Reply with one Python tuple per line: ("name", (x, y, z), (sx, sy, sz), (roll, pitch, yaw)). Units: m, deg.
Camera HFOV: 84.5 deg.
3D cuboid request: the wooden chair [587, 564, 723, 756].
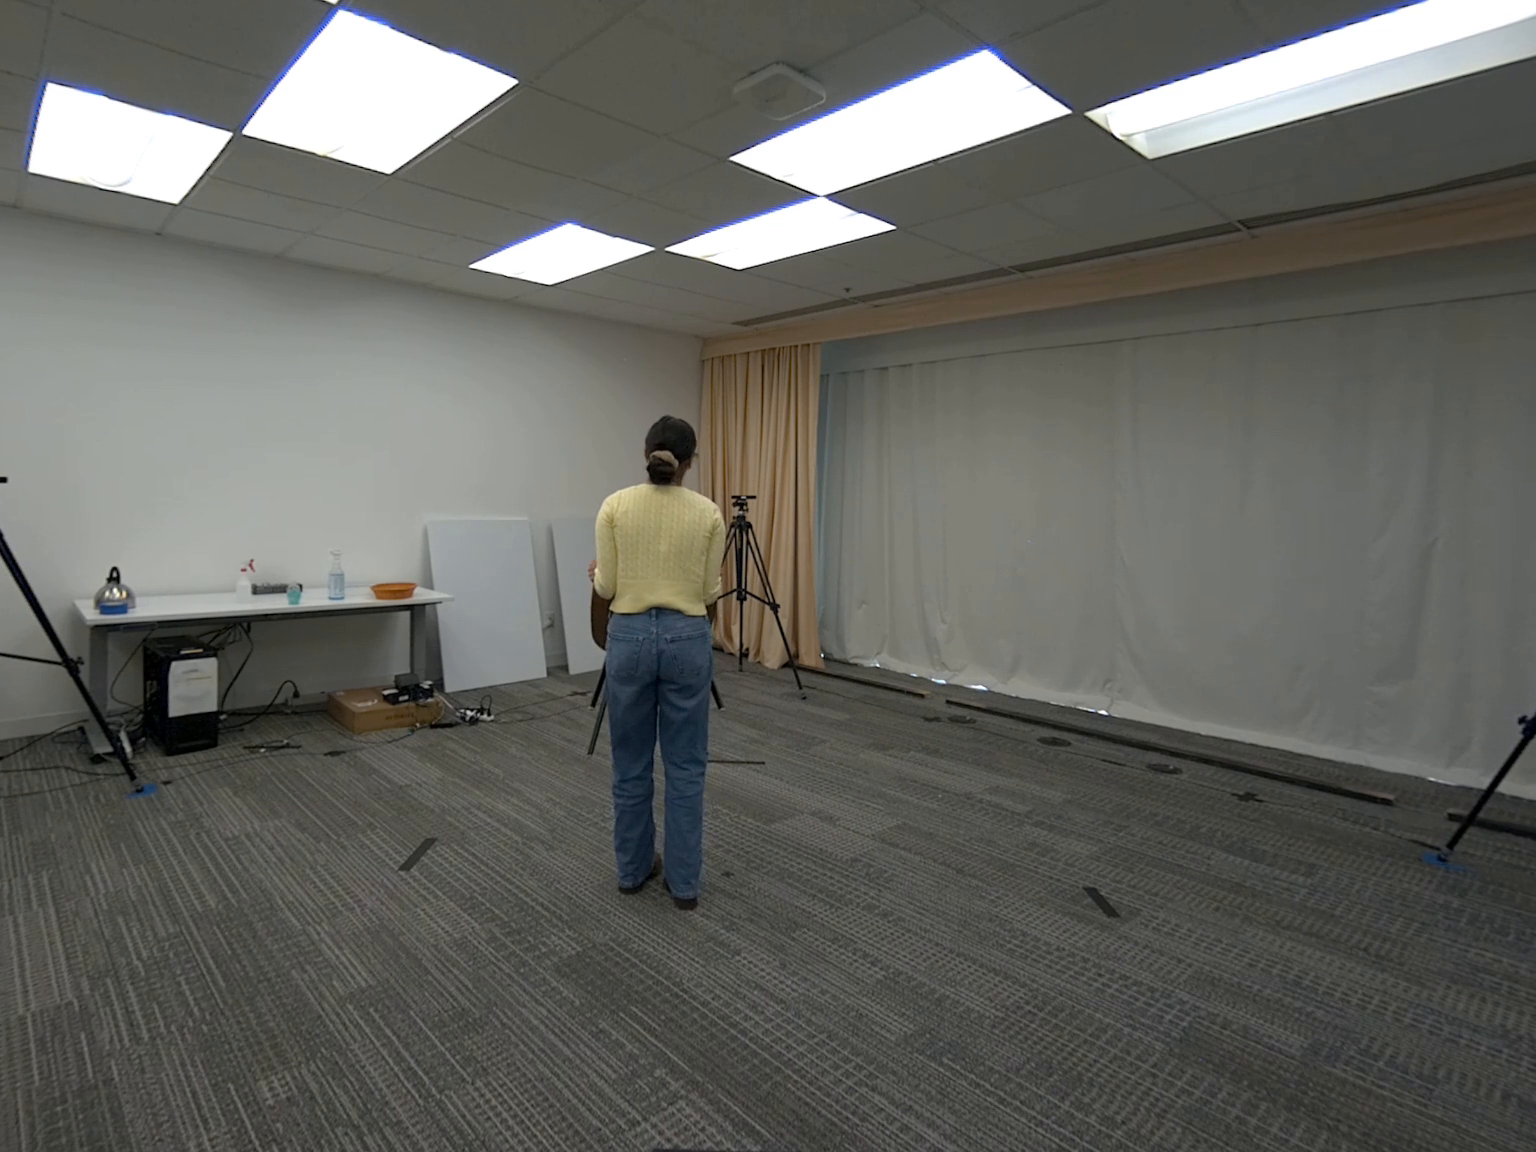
("wooden chair", (-0.448, 0.203, 3.210), (0.474, 0.894, 0.517), (2, -29, -10))
